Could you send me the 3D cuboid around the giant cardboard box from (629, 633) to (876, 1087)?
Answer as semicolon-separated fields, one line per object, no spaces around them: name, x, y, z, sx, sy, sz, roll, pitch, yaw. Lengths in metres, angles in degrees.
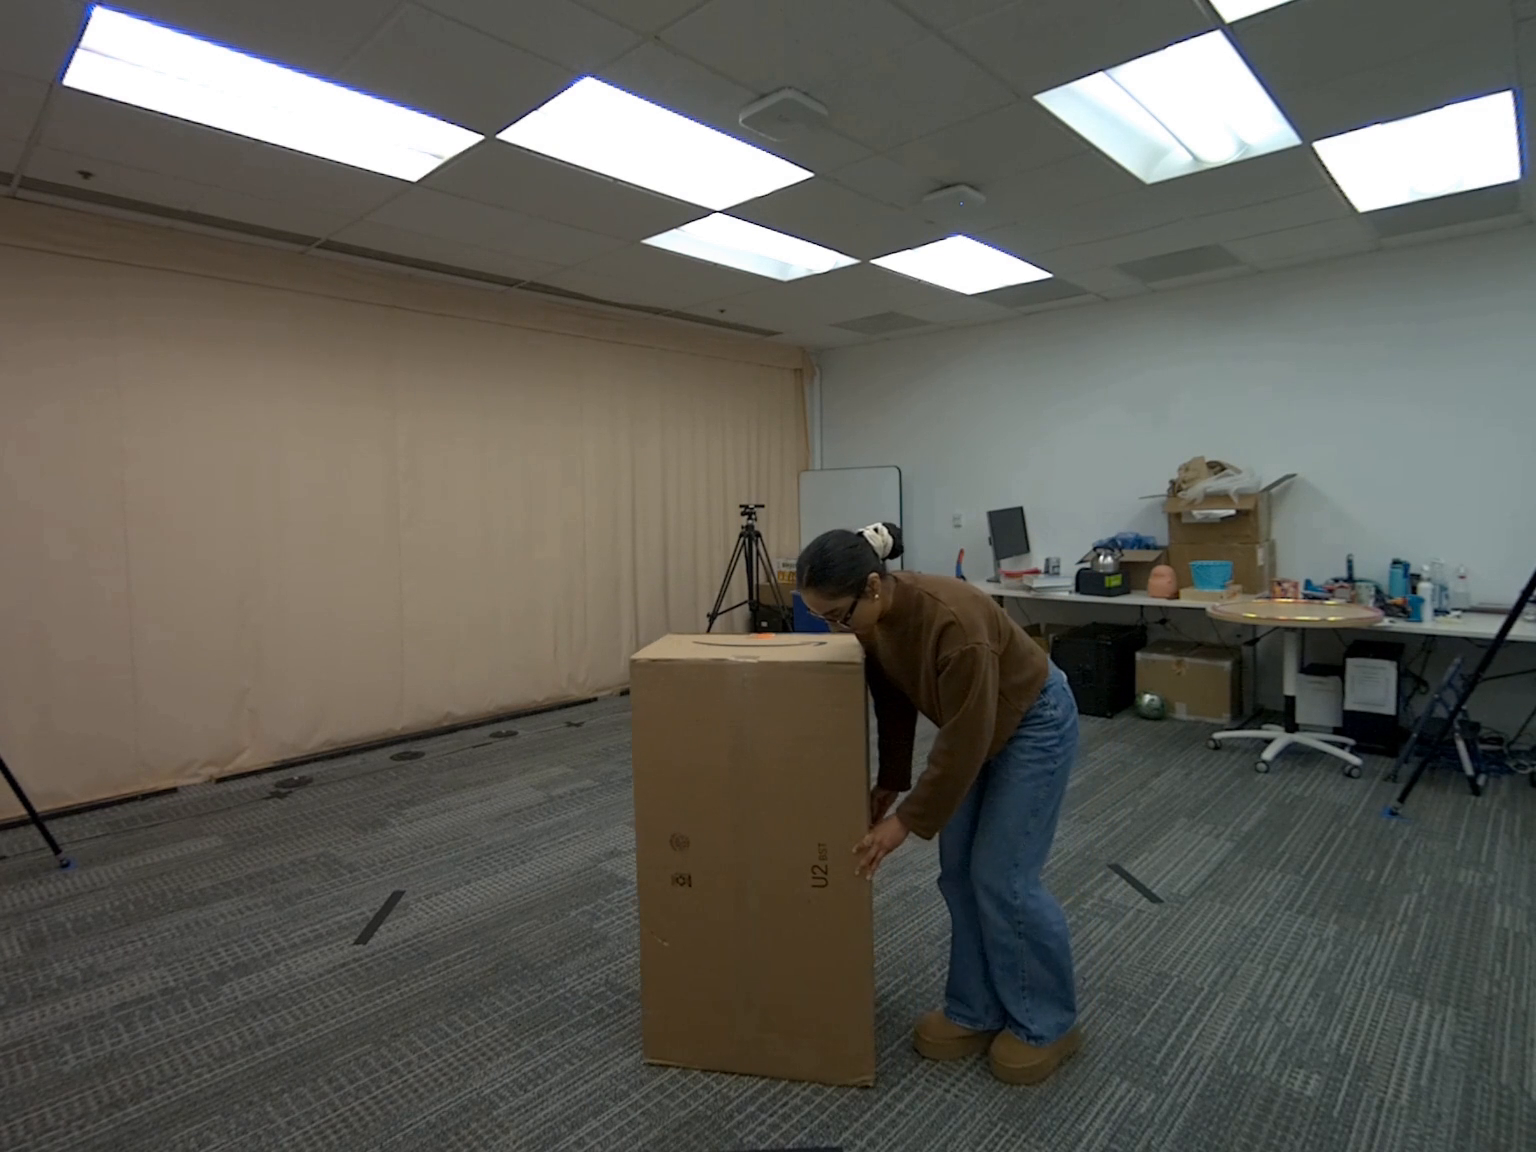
giant cardboard box;-0.013;0.696;2.238;0.584;1.024;0.422;-1;3;10
